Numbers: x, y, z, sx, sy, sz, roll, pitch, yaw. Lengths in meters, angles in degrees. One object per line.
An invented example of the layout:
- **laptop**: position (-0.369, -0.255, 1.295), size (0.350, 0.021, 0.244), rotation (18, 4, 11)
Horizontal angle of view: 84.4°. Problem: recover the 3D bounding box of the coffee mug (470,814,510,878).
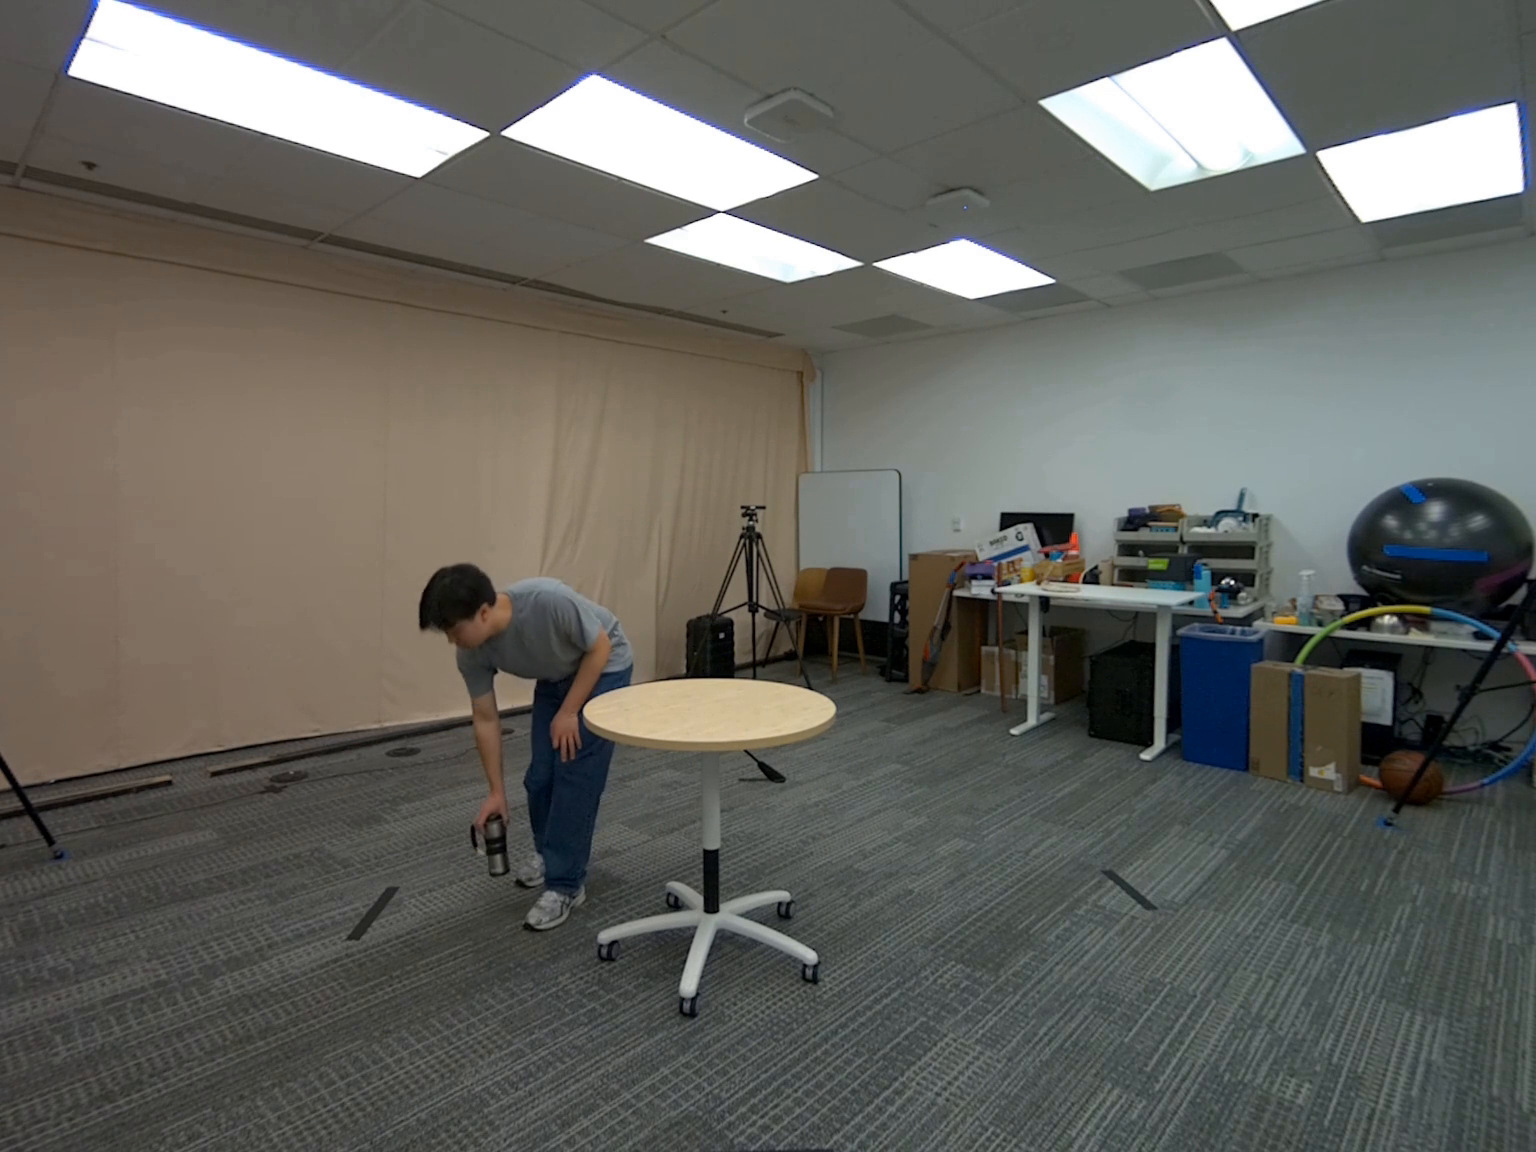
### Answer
- **coffee mug**: position (-0.955, 0.944, 2.944), size (0.085, 0.202, 0.126), rotation (-12, 6, -40)
